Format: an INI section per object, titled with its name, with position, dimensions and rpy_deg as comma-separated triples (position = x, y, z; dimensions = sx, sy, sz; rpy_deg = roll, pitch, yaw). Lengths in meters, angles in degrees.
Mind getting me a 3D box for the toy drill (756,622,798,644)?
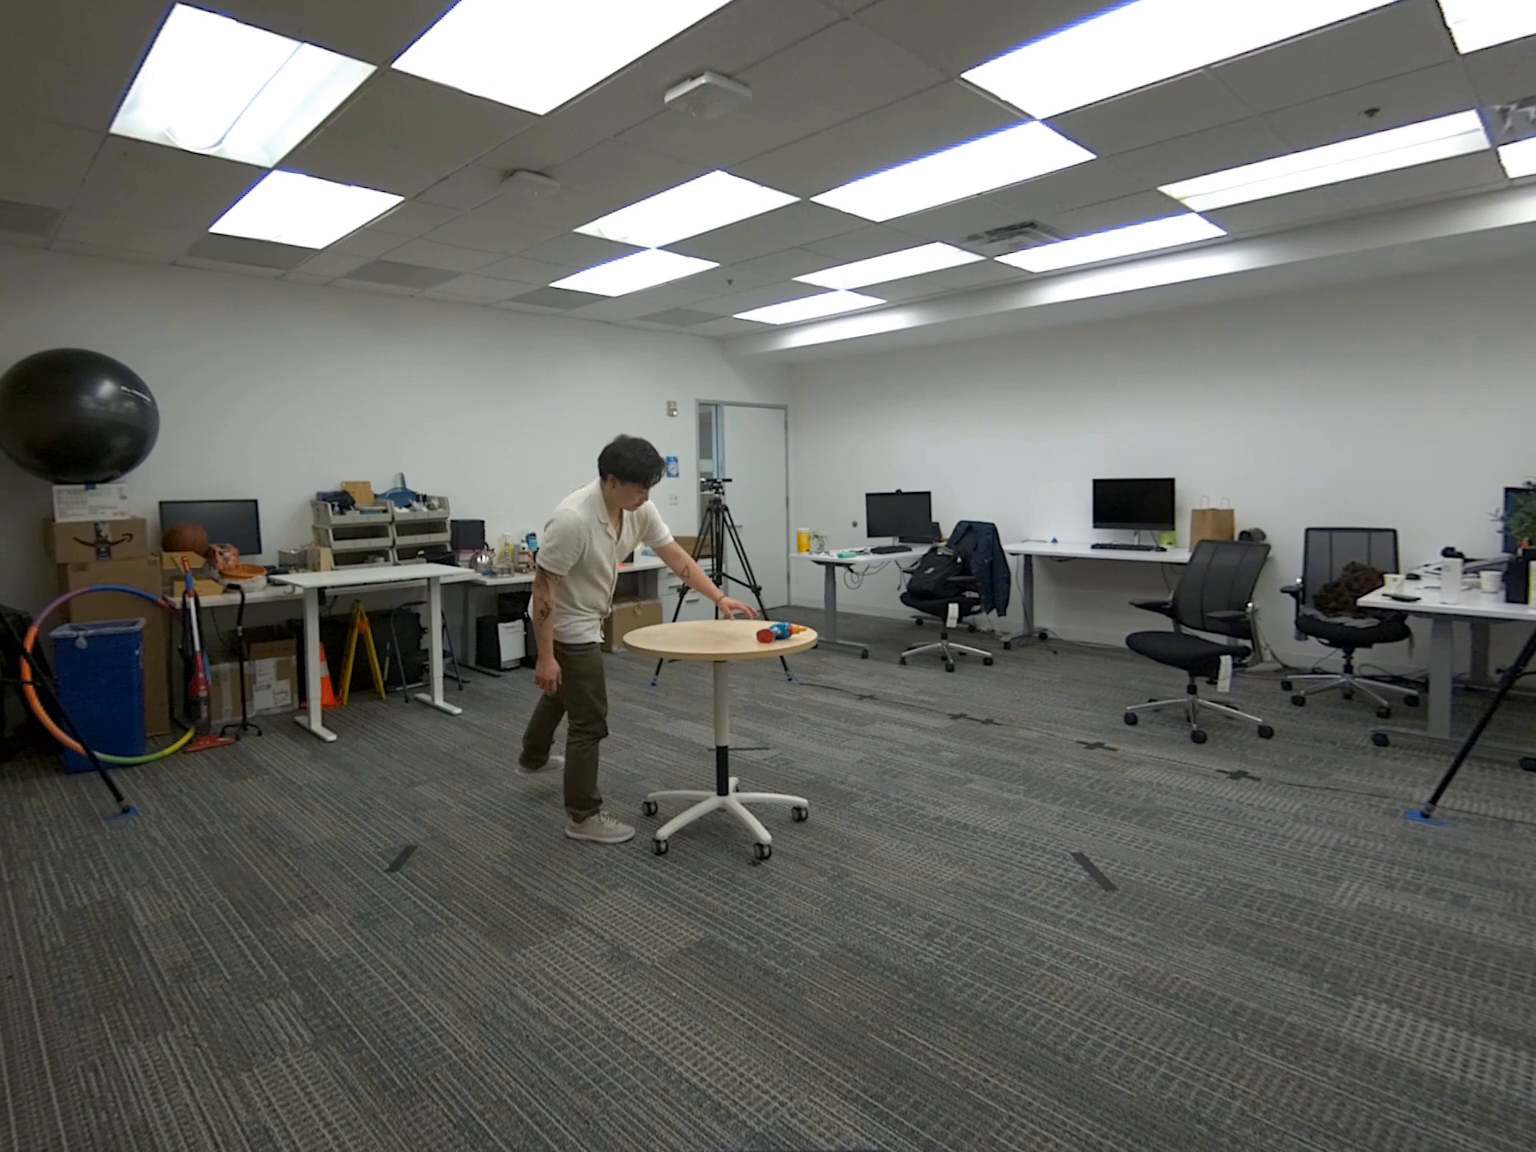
[toy drill]
position = 0.050, 0.212, 3.218
dimensions = 0.174, 0.061, 0.143
rpy_deg = -4, 5, 30
